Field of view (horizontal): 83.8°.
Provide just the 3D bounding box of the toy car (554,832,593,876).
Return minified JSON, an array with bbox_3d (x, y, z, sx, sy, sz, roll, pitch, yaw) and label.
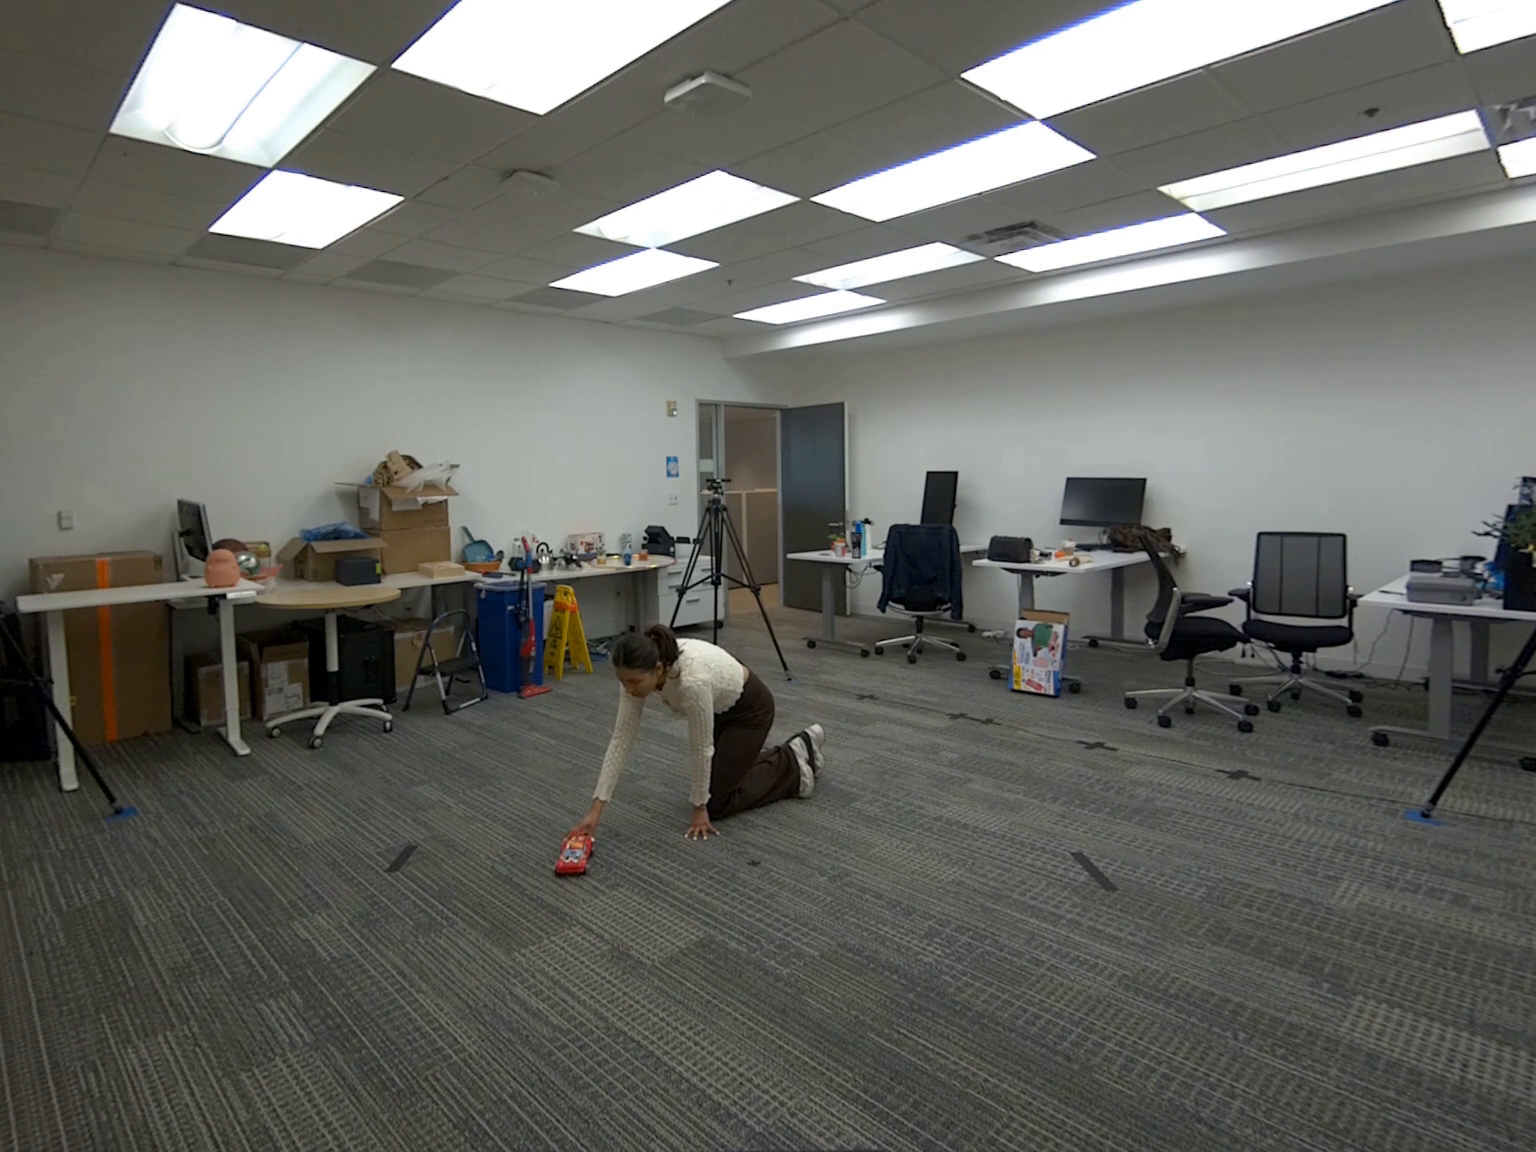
[{"bbox_3d":[-0.711,1.025,3.137,0.130,0.082,0.258,-1,17,-2],"label":"toy car"}]
